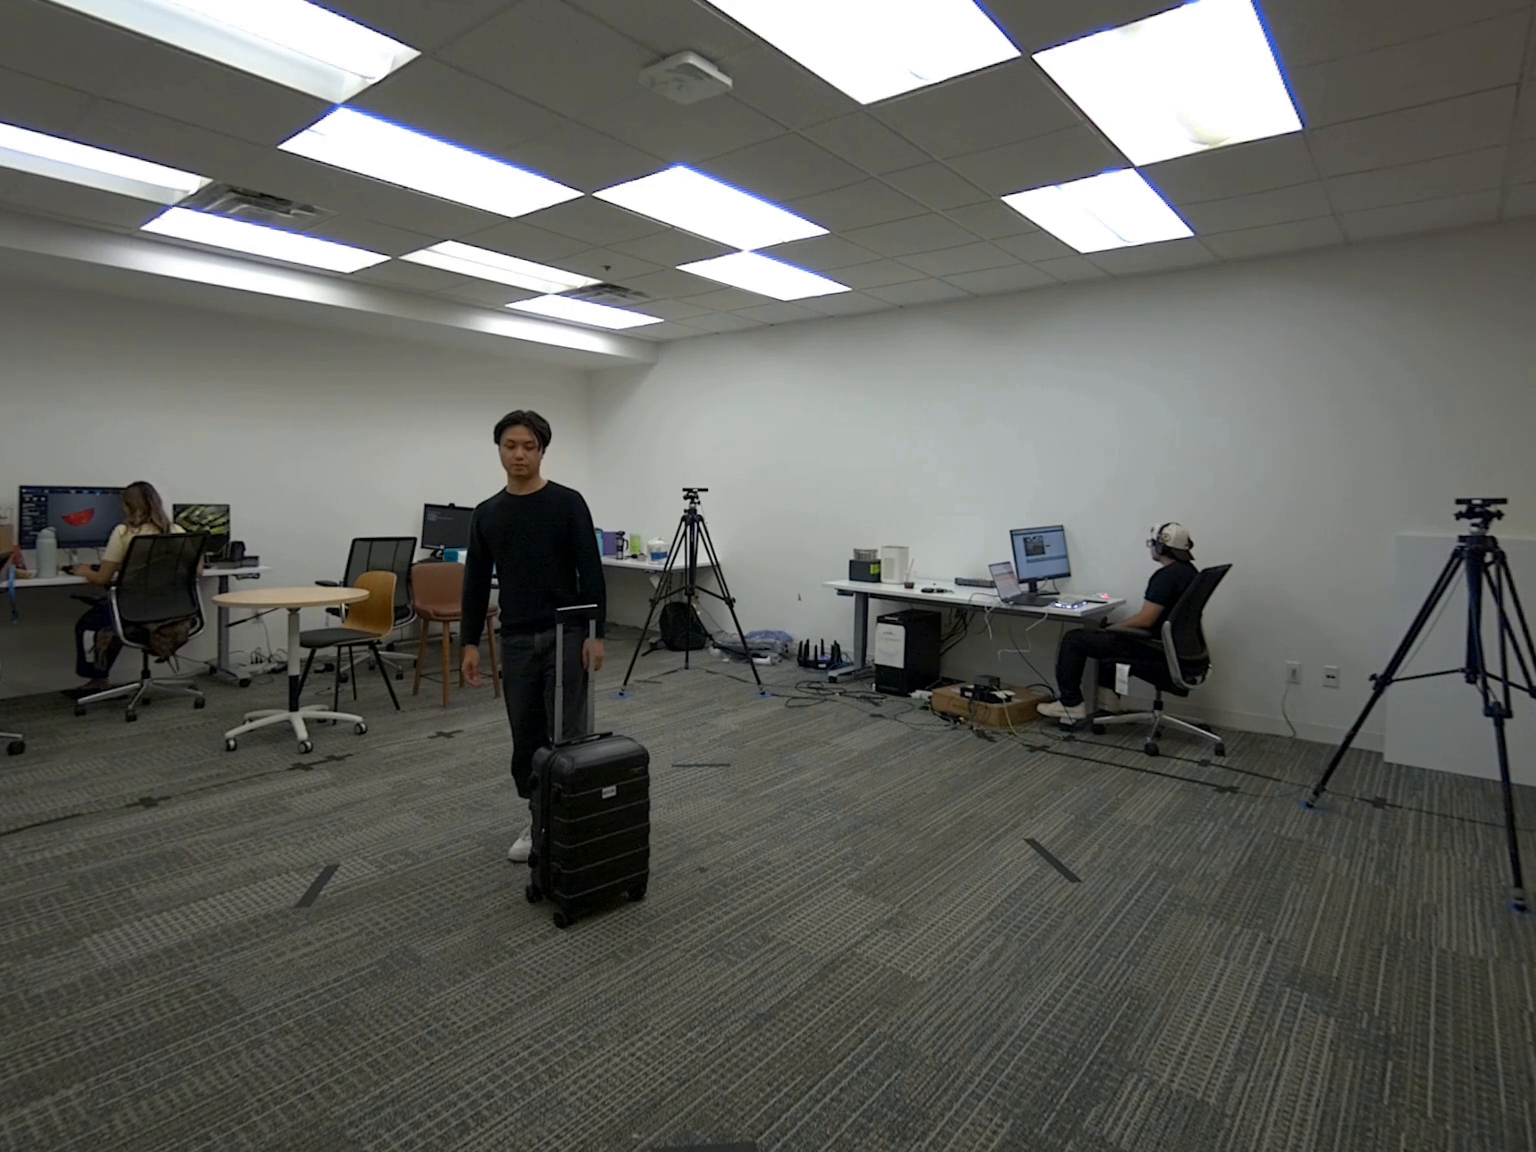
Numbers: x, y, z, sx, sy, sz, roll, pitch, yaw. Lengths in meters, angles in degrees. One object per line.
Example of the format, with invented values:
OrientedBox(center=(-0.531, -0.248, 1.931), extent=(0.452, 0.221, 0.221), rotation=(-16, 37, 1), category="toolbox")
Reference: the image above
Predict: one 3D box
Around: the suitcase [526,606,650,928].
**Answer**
OrientedBox(center=(-0.595, 0.610, 2.828), extent=(0.372, 0.975, 0.266), rotation=(-1, 5, -41), category="suitcase")
